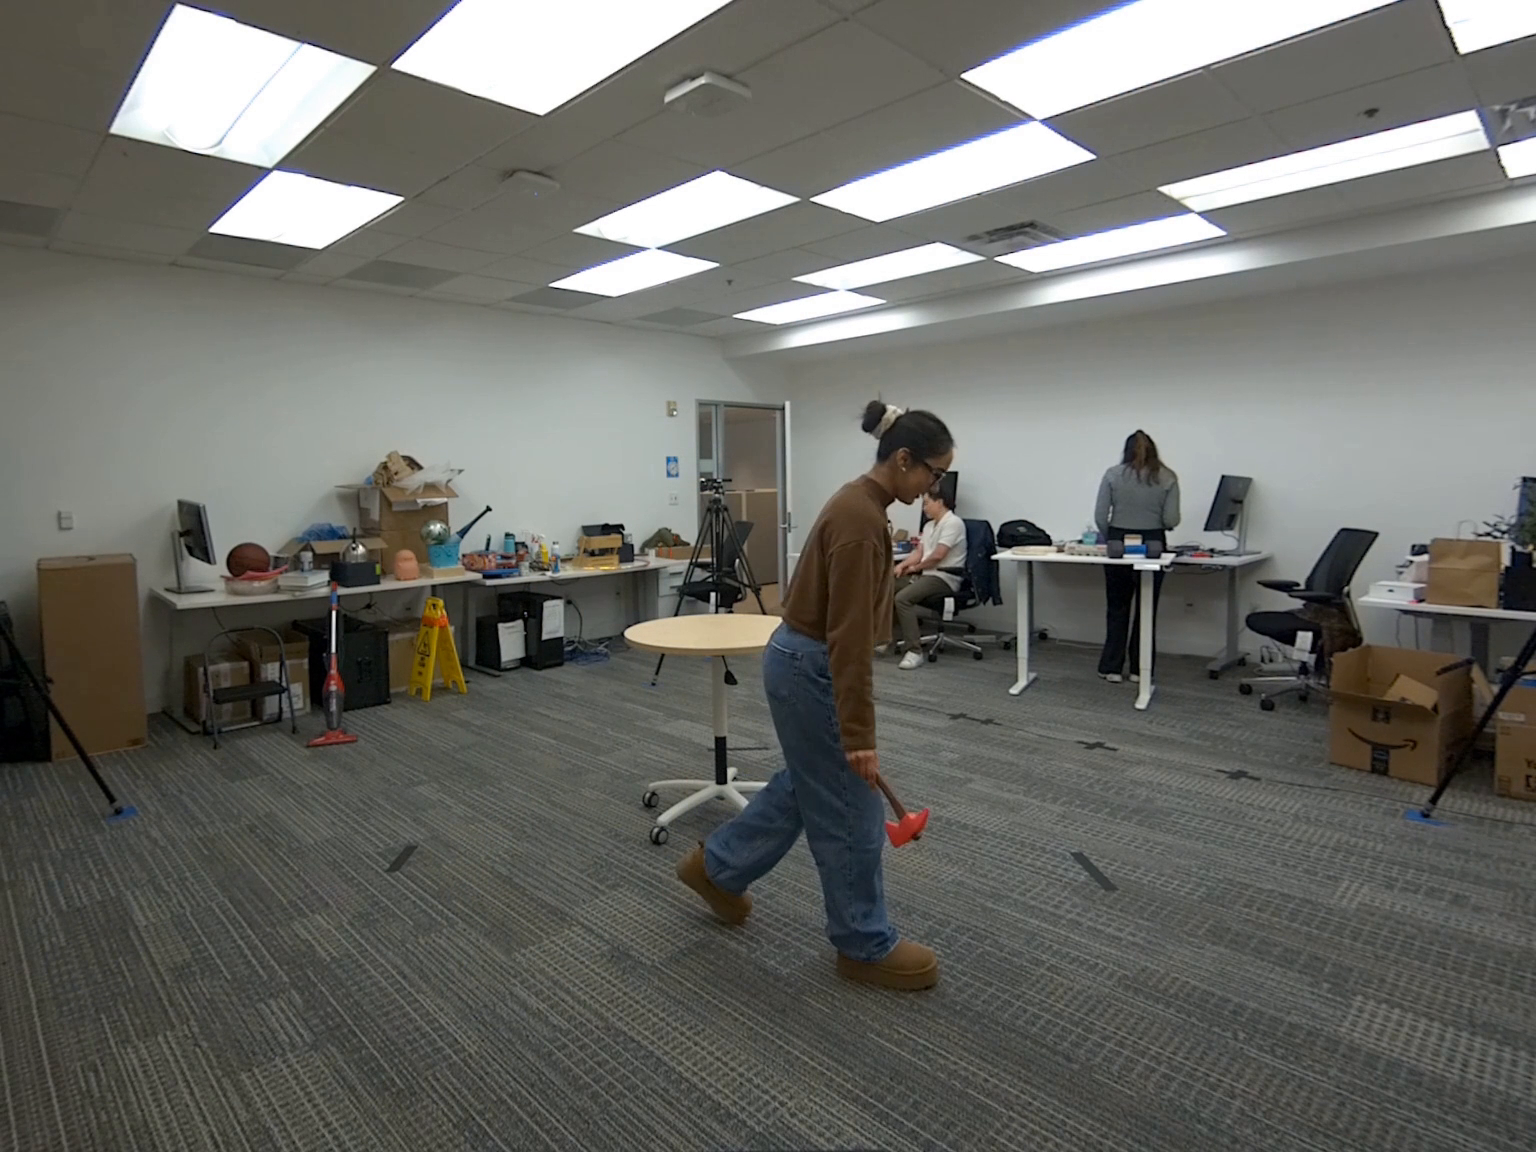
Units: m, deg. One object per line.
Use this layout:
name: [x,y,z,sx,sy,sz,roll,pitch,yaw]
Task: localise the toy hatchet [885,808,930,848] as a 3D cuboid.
toy hatchet: [0.245,0.530,2.024,0.029,0.130,0.280,5,17,-35]
